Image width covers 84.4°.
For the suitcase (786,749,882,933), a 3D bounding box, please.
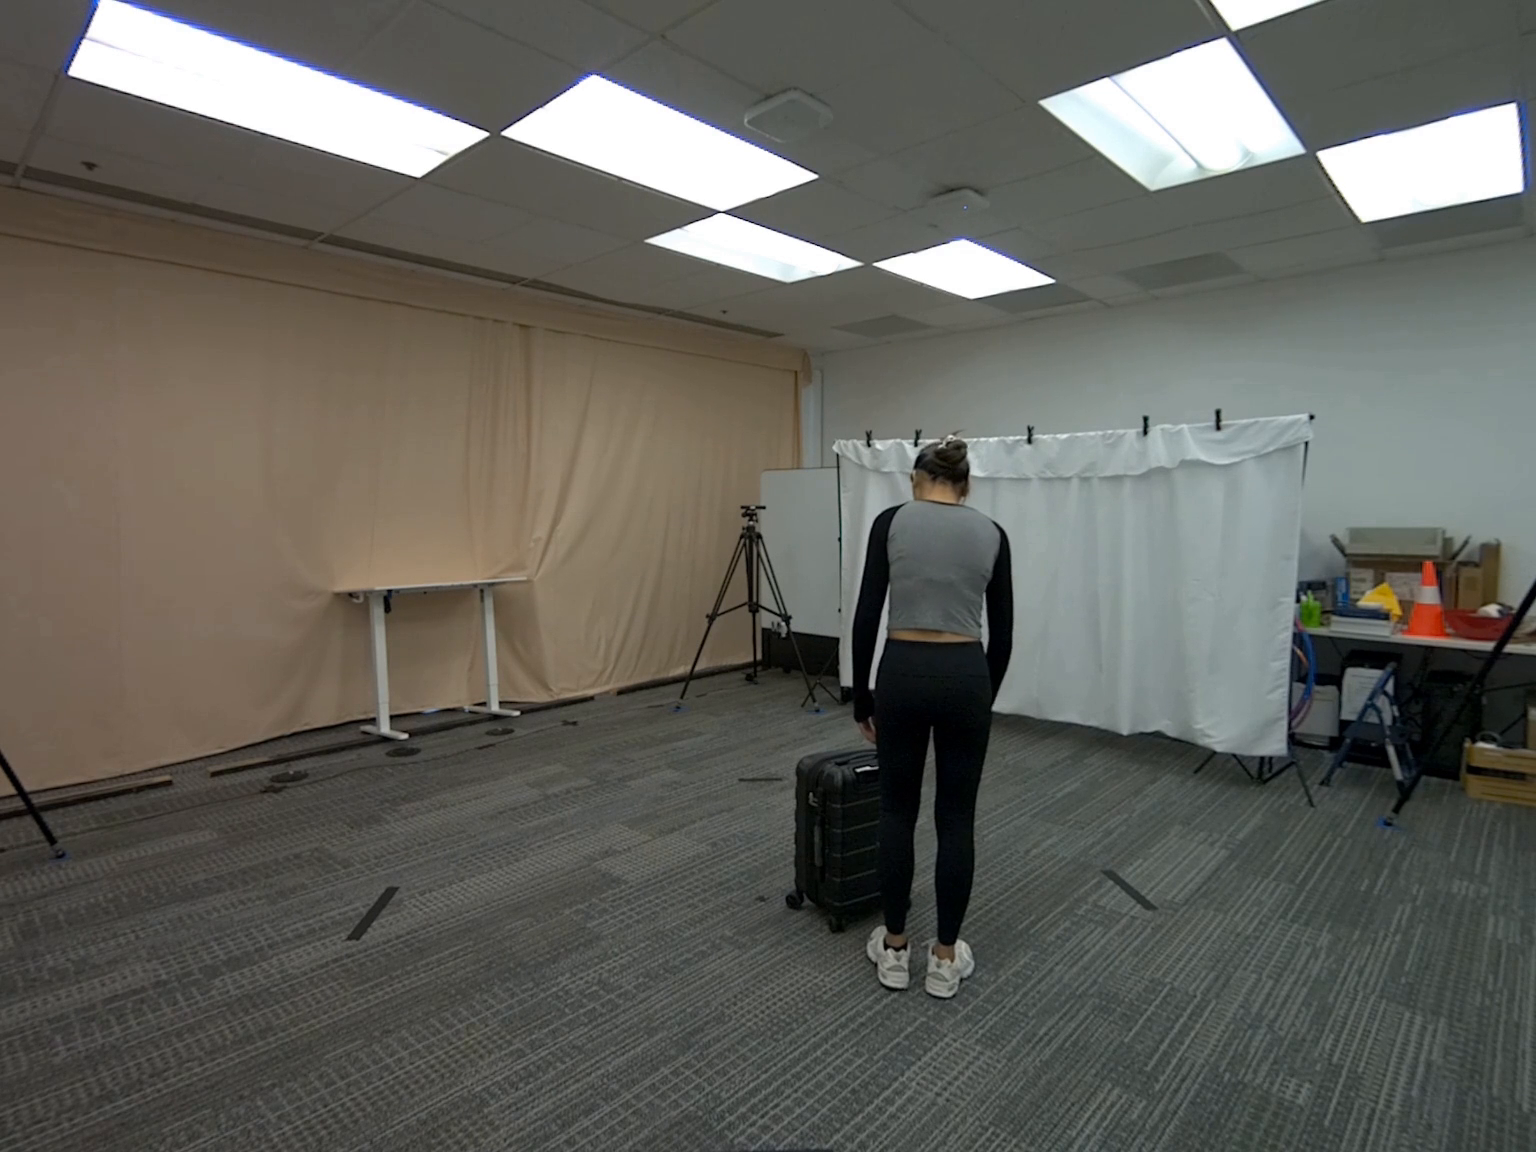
[{"bbox_3d":[0.290,0.871,2.882,0.365,0.548,0.256,-3,5,-31],"label":"suitcase"}]
